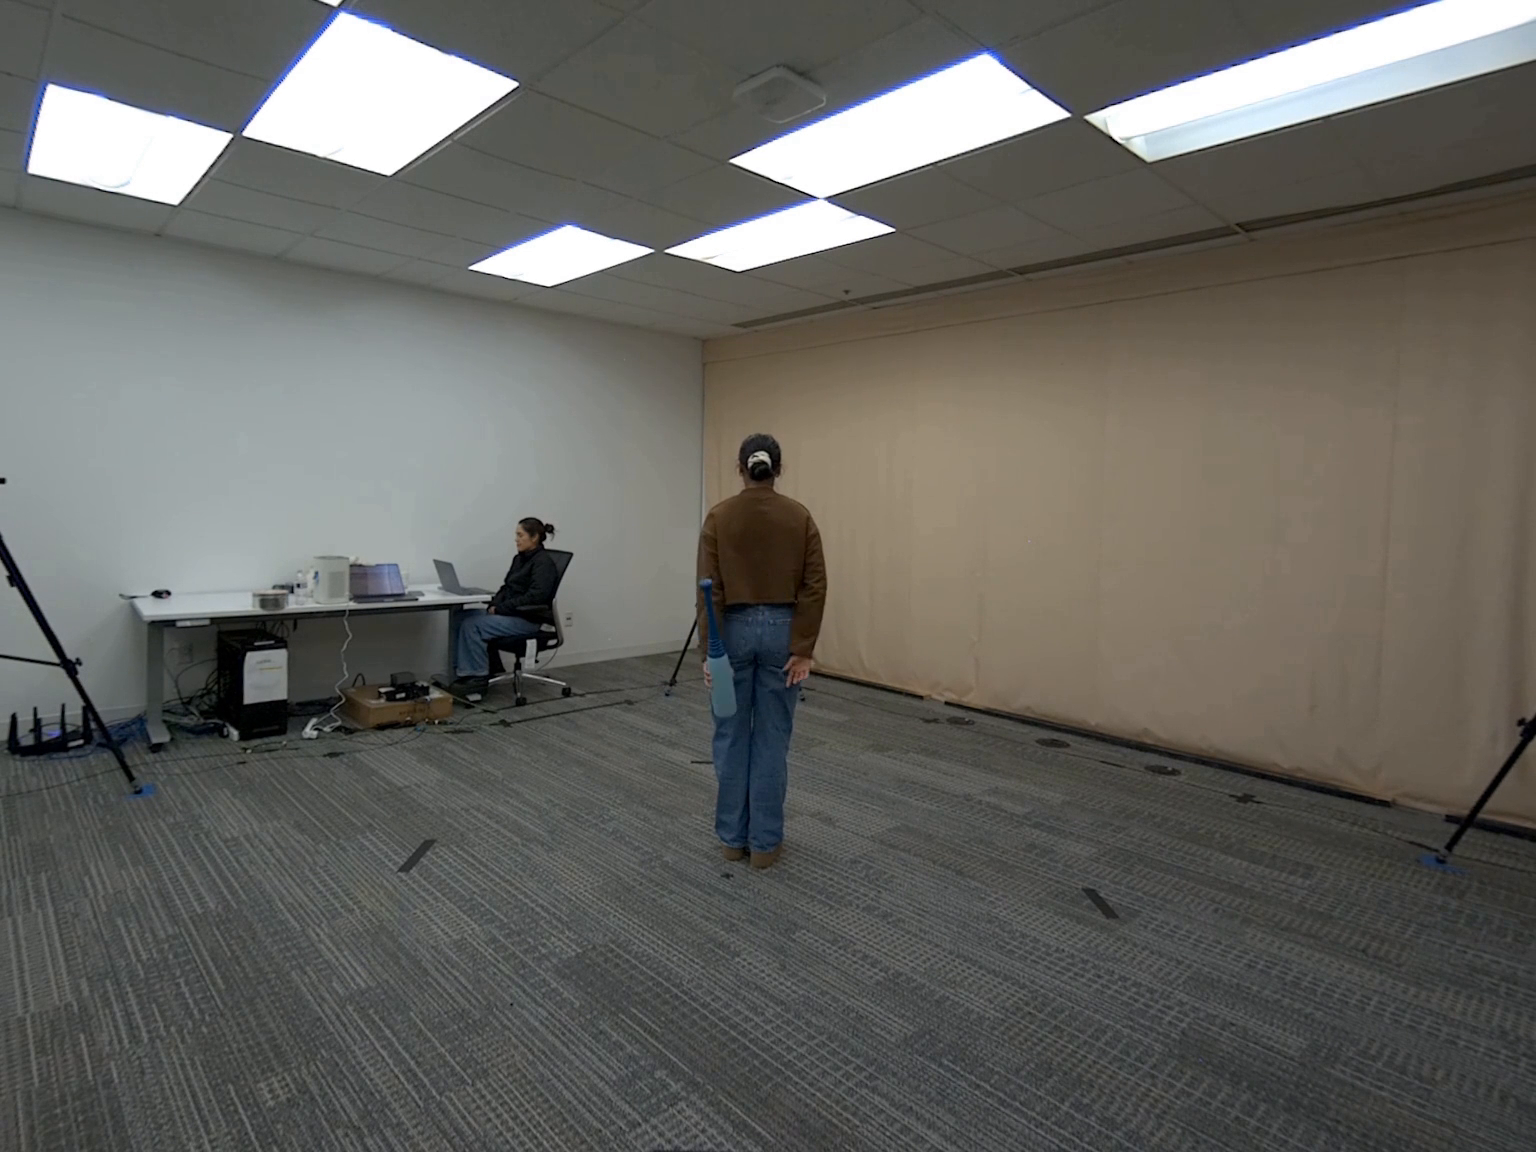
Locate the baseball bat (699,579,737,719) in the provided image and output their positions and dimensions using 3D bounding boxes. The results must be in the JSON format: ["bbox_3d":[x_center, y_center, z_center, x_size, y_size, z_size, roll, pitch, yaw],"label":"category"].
[{"bbox_3d":[-0.188,0.266,3.048,0.089,0.535,0.090,-4,20,0],"label":"baseball bat"}]
